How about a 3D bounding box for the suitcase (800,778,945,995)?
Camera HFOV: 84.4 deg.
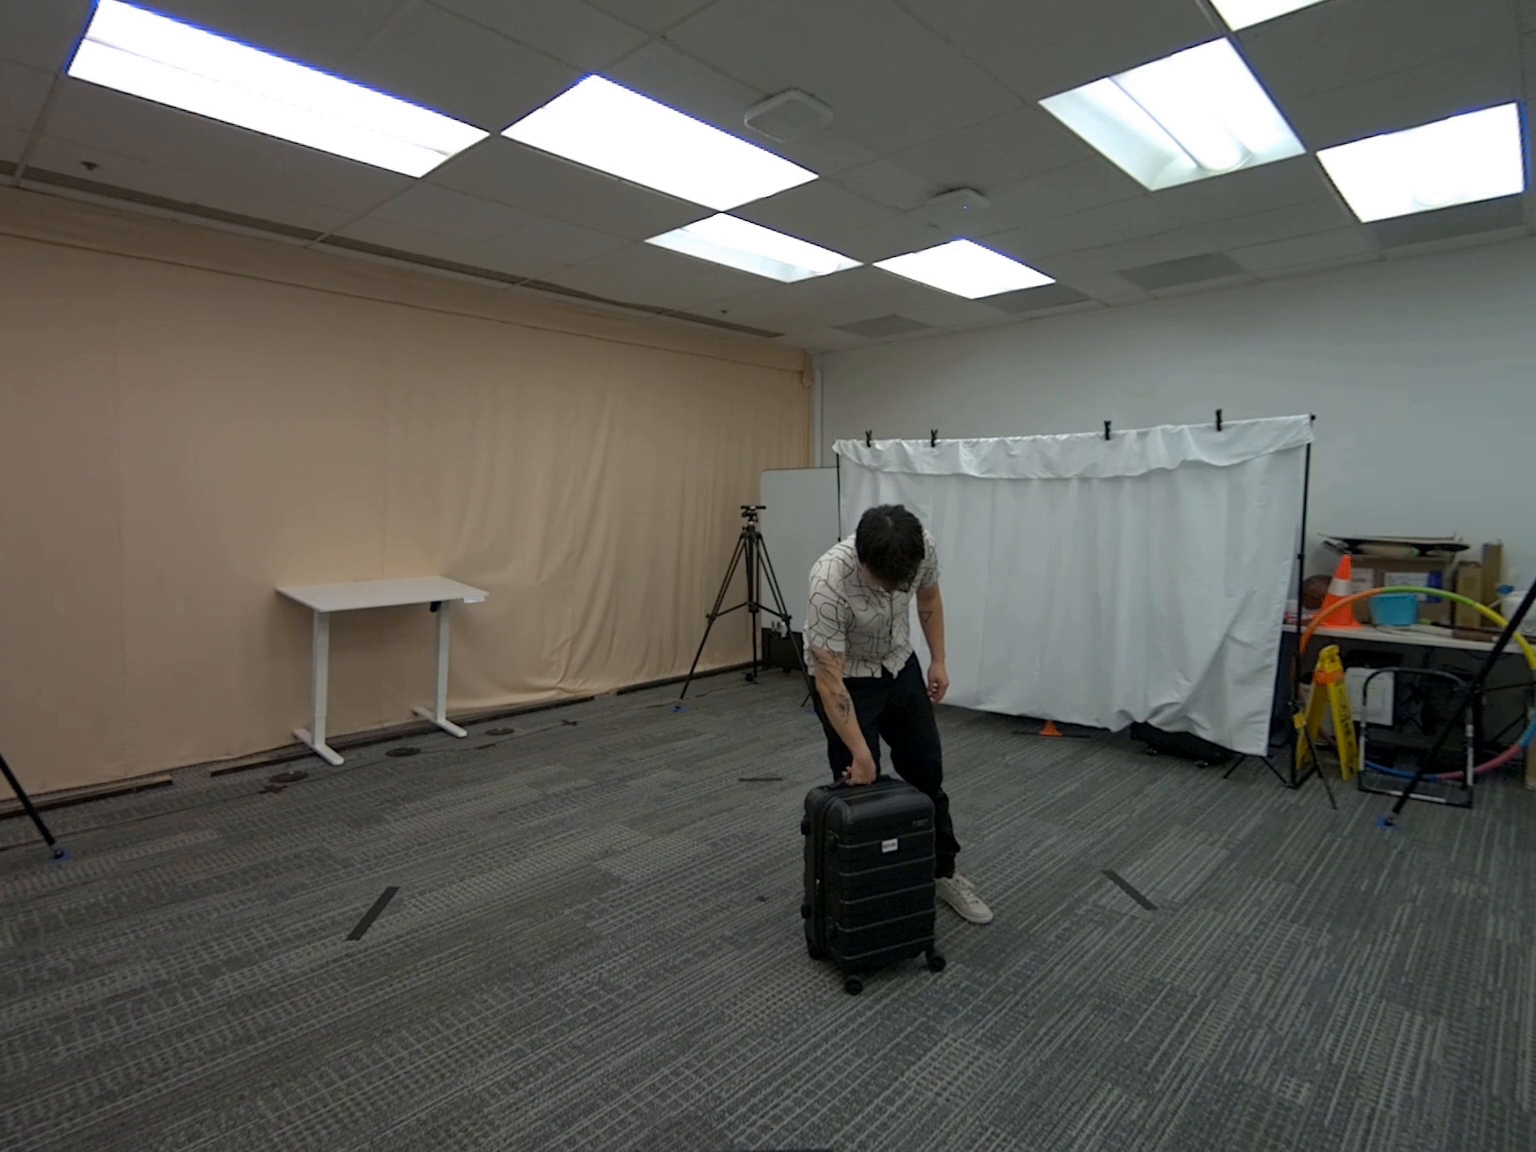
[{"bbox_3d":[0.315,0.900,2.551,0.366,0.549,0.254,-1,2,-25],"label":"suitcase"}]
